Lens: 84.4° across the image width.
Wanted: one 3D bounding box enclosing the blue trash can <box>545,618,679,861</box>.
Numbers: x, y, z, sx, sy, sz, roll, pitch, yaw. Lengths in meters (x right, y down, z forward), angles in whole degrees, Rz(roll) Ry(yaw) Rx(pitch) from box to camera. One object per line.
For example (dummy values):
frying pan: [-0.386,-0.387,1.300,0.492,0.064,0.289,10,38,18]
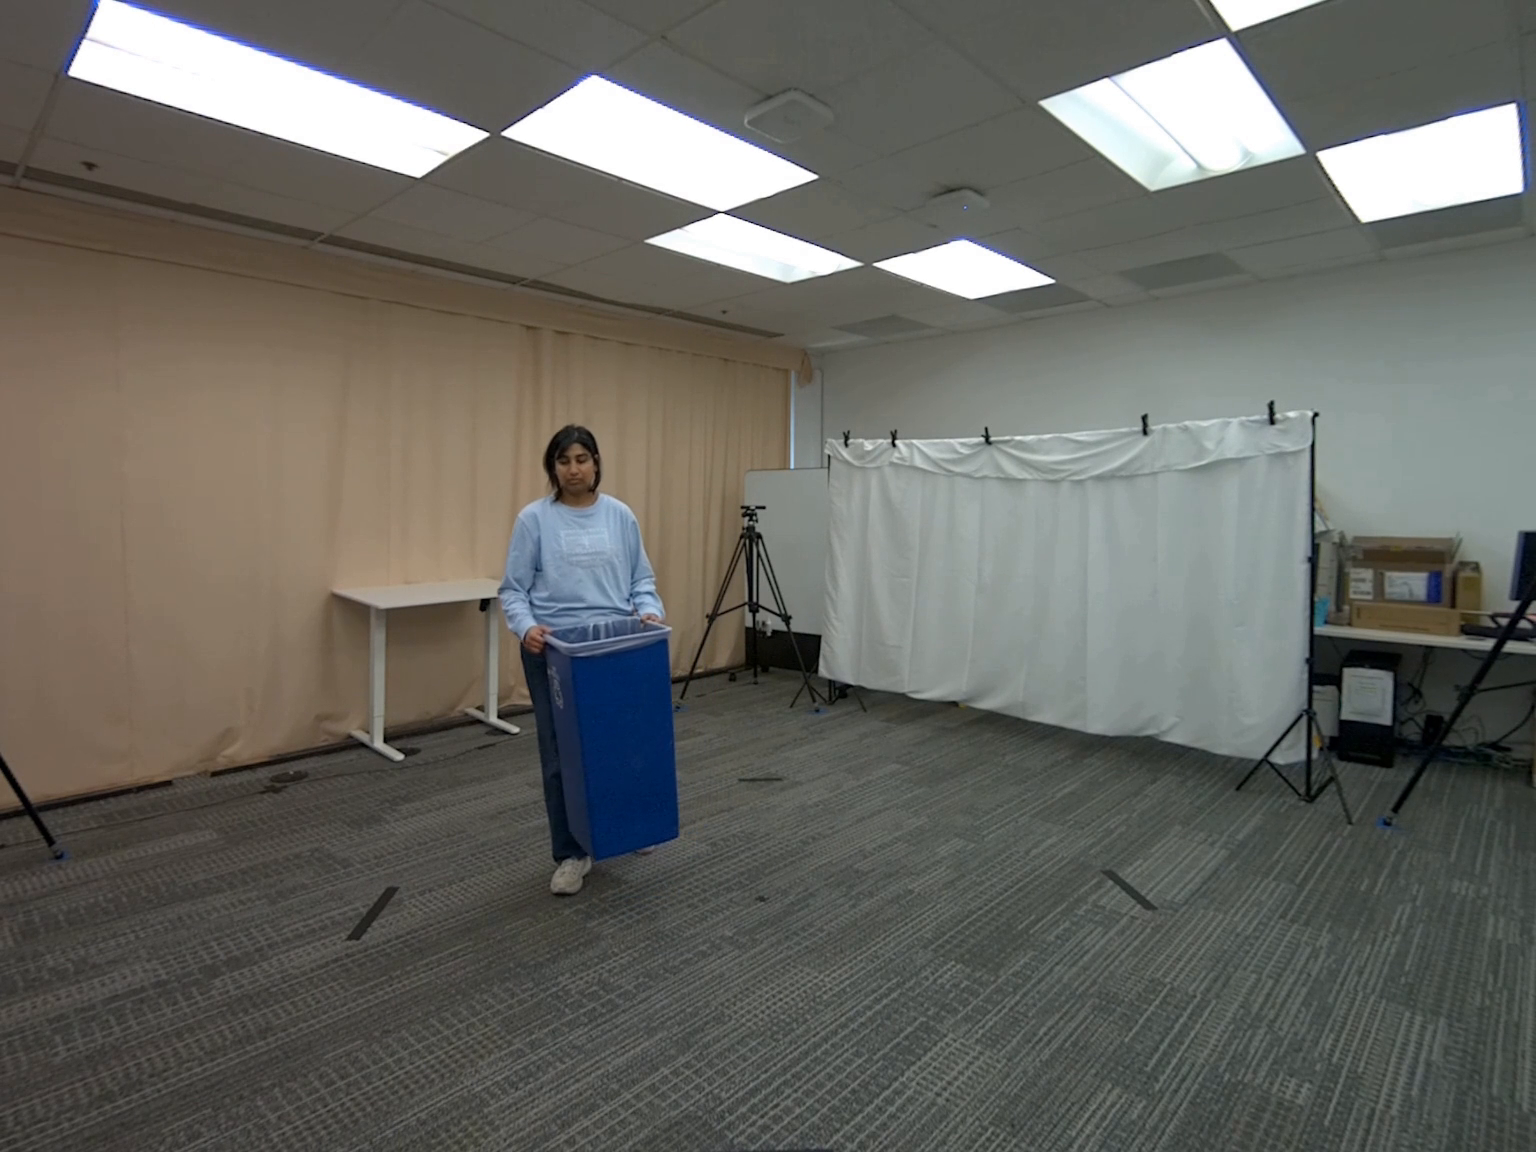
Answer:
blue trash can: [-0.516,0.536,2.850,0.369,0.711,0.384,-7,6,-27]
